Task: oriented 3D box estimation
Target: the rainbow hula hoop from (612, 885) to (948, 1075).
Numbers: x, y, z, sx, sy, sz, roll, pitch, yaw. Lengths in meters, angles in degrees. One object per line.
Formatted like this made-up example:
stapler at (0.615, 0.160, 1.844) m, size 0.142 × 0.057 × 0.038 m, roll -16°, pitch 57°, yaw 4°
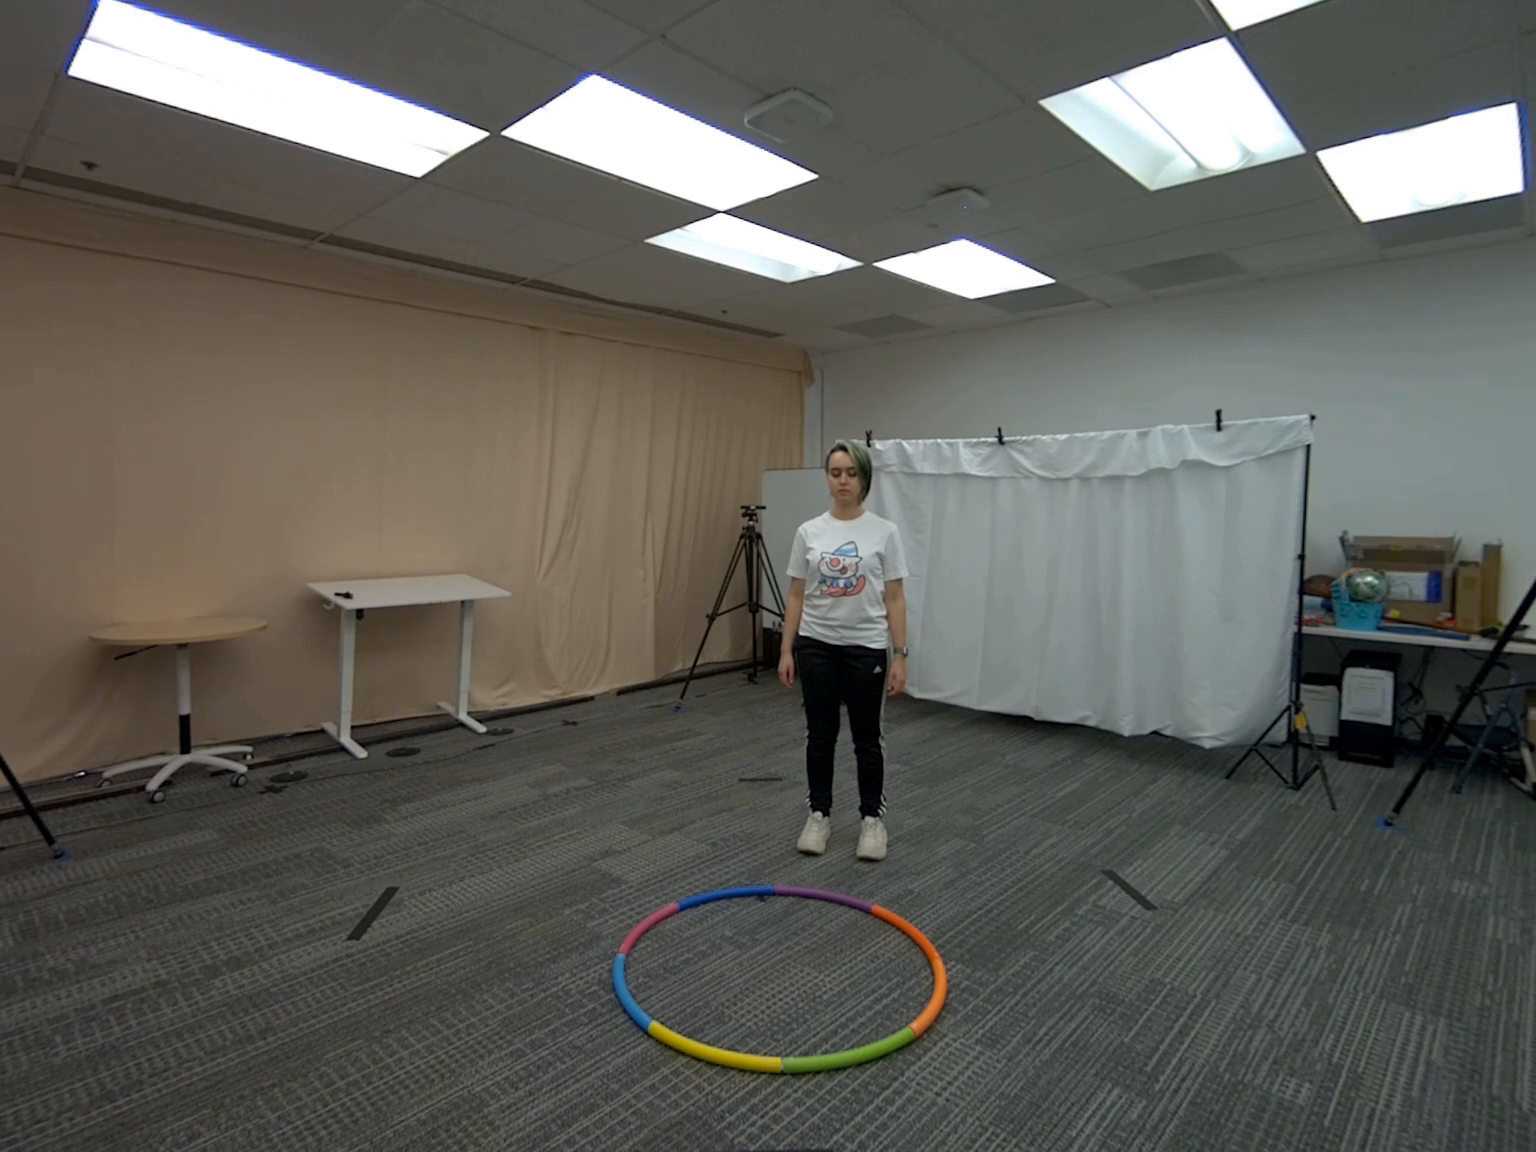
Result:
rainbow hula hoop at (0.031, 1.150, 2.547) m, size 0.978 × 0.035 × 0.982 m, roll 0°, pitch 4°, yaw -2°
